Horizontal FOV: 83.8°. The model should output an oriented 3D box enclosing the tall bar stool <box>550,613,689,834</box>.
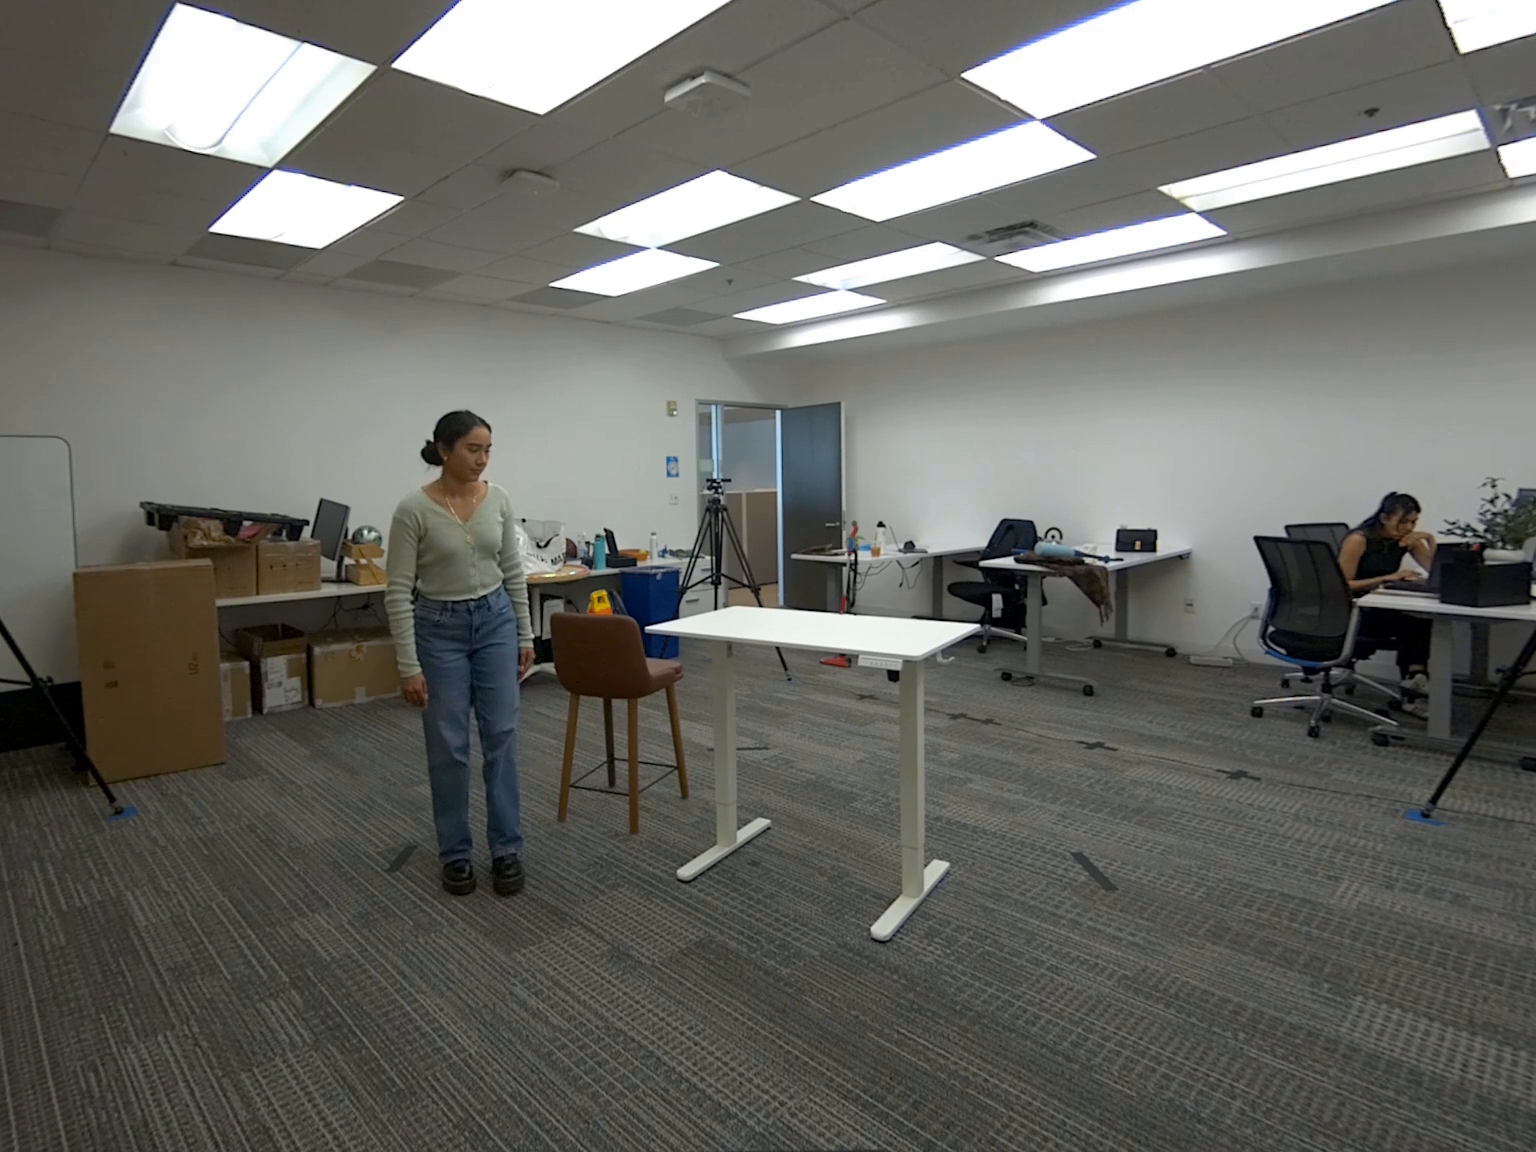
[{"bbox_3d":[-0.630,0.561,3.622,0.467,0.885,0.459,1,6,24],"label":"tall bar stool"}]
